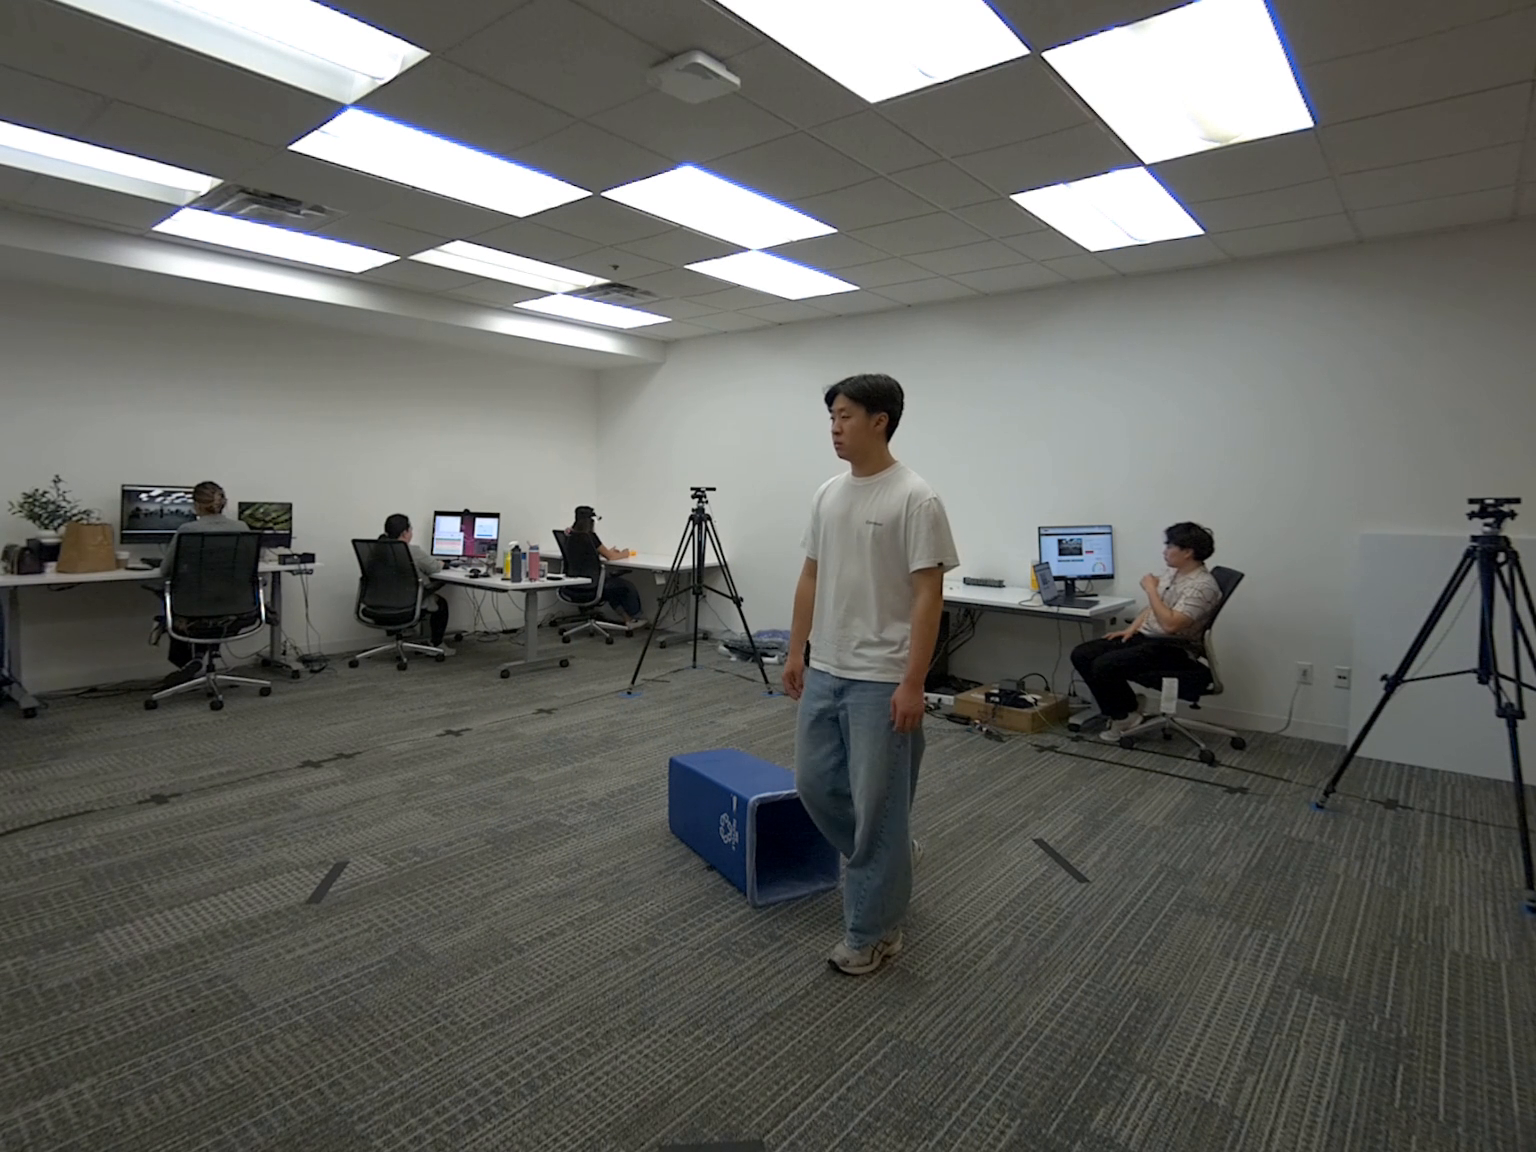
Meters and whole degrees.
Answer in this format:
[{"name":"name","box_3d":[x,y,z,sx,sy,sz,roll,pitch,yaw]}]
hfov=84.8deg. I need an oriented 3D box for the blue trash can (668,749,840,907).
[{"name":"blue trash can","box_3d":[-0.105,0.895,3.201,0.364,0.377,0.734,-1,3,-31]}]
